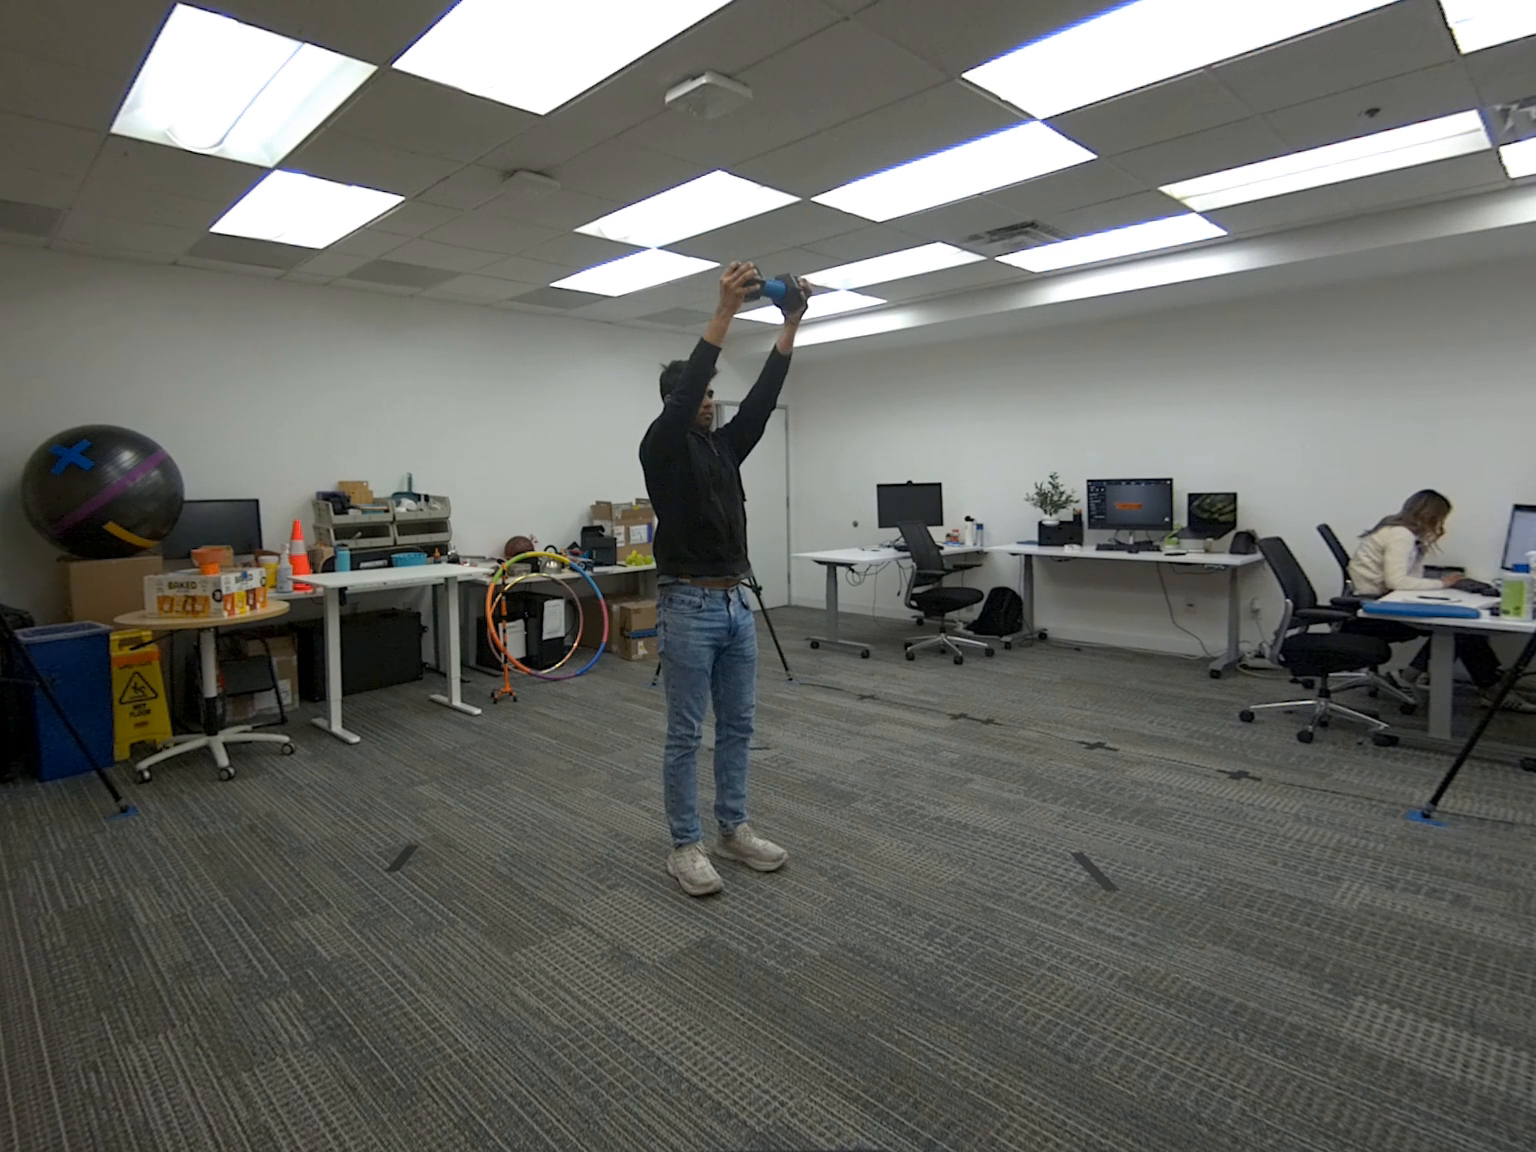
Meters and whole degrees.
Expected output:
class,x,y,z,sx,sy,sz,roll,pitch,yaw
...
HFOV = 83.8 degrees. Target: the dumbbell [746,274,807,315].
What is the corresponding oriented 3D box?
class,x,y,z,sx,sy,sz,roll,pitch,yaw
dumbbell,0.001,-0.935,2.775,0.286,0.126,0.109,-8,-25,-46
